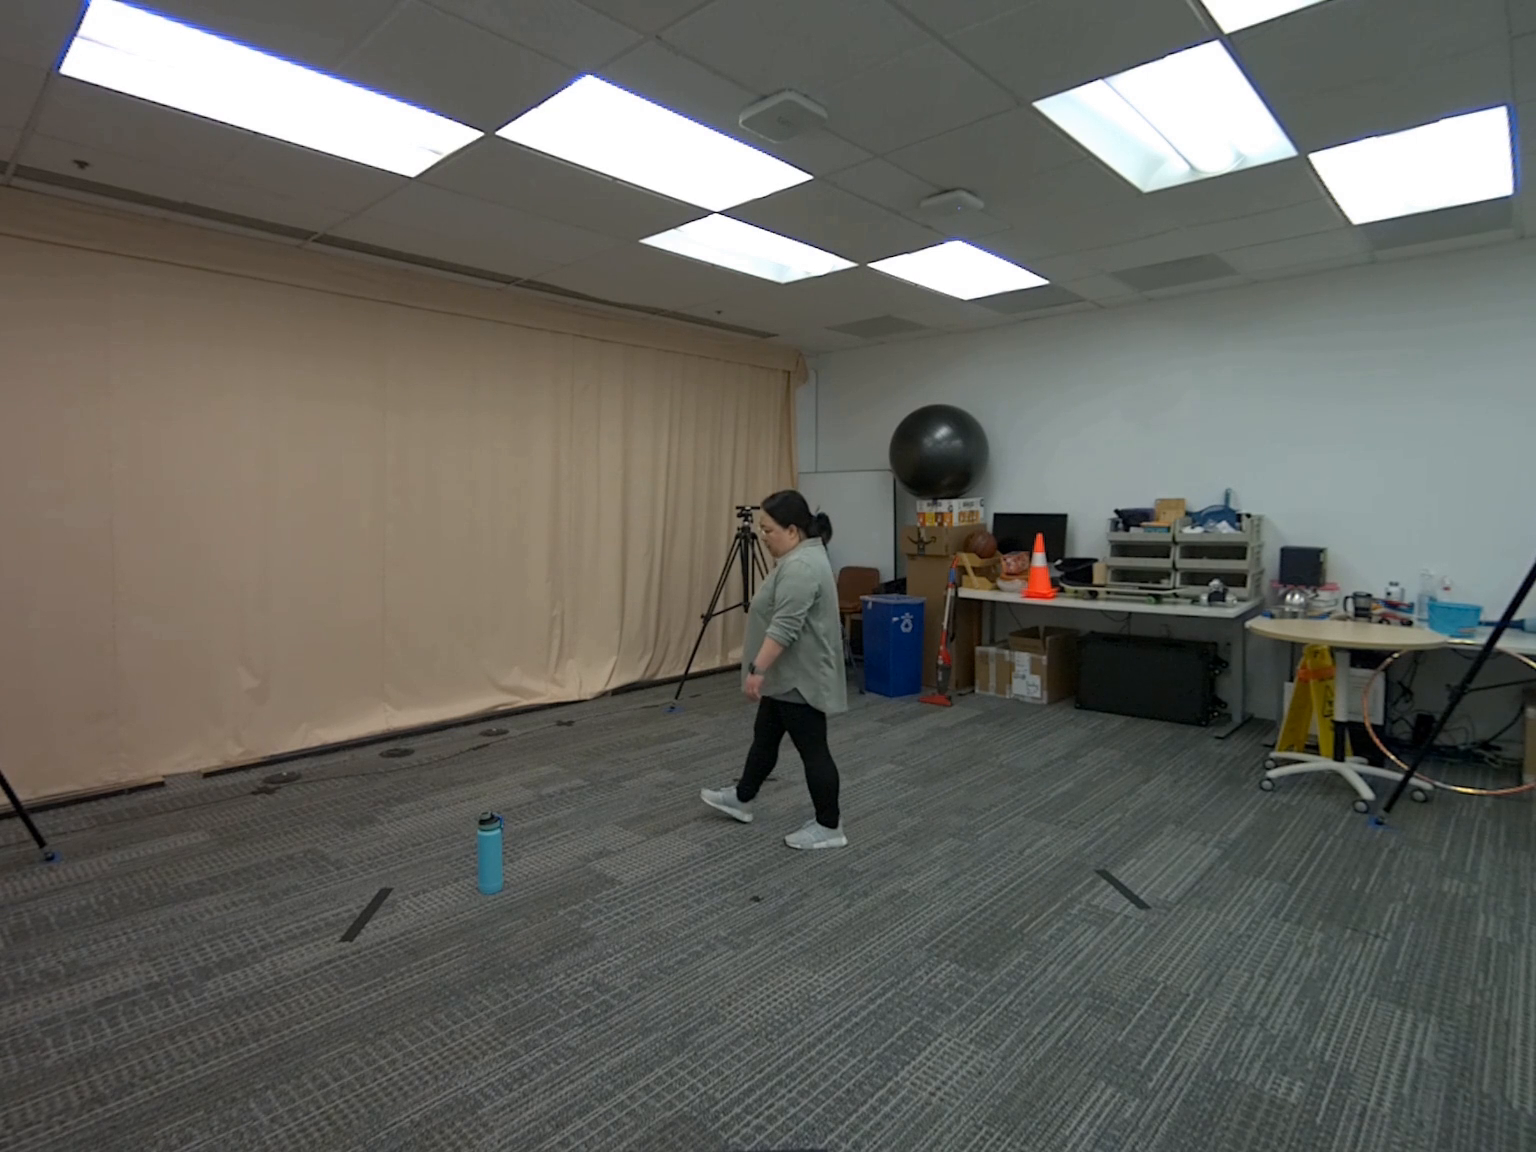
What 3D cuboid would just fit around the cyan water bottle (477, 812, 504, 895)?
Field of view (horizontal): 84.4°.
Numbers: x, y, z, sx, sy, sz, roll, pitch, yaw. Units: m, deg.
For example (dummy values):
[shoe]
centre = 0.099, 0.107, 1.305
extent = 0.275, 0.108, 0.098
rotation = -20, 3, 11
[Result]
[cyan water bottle]
centre = -1.021, 1.006, 3.078
extent = 0.092, 0.283, 0.092
rotation = 0, 1, -2
